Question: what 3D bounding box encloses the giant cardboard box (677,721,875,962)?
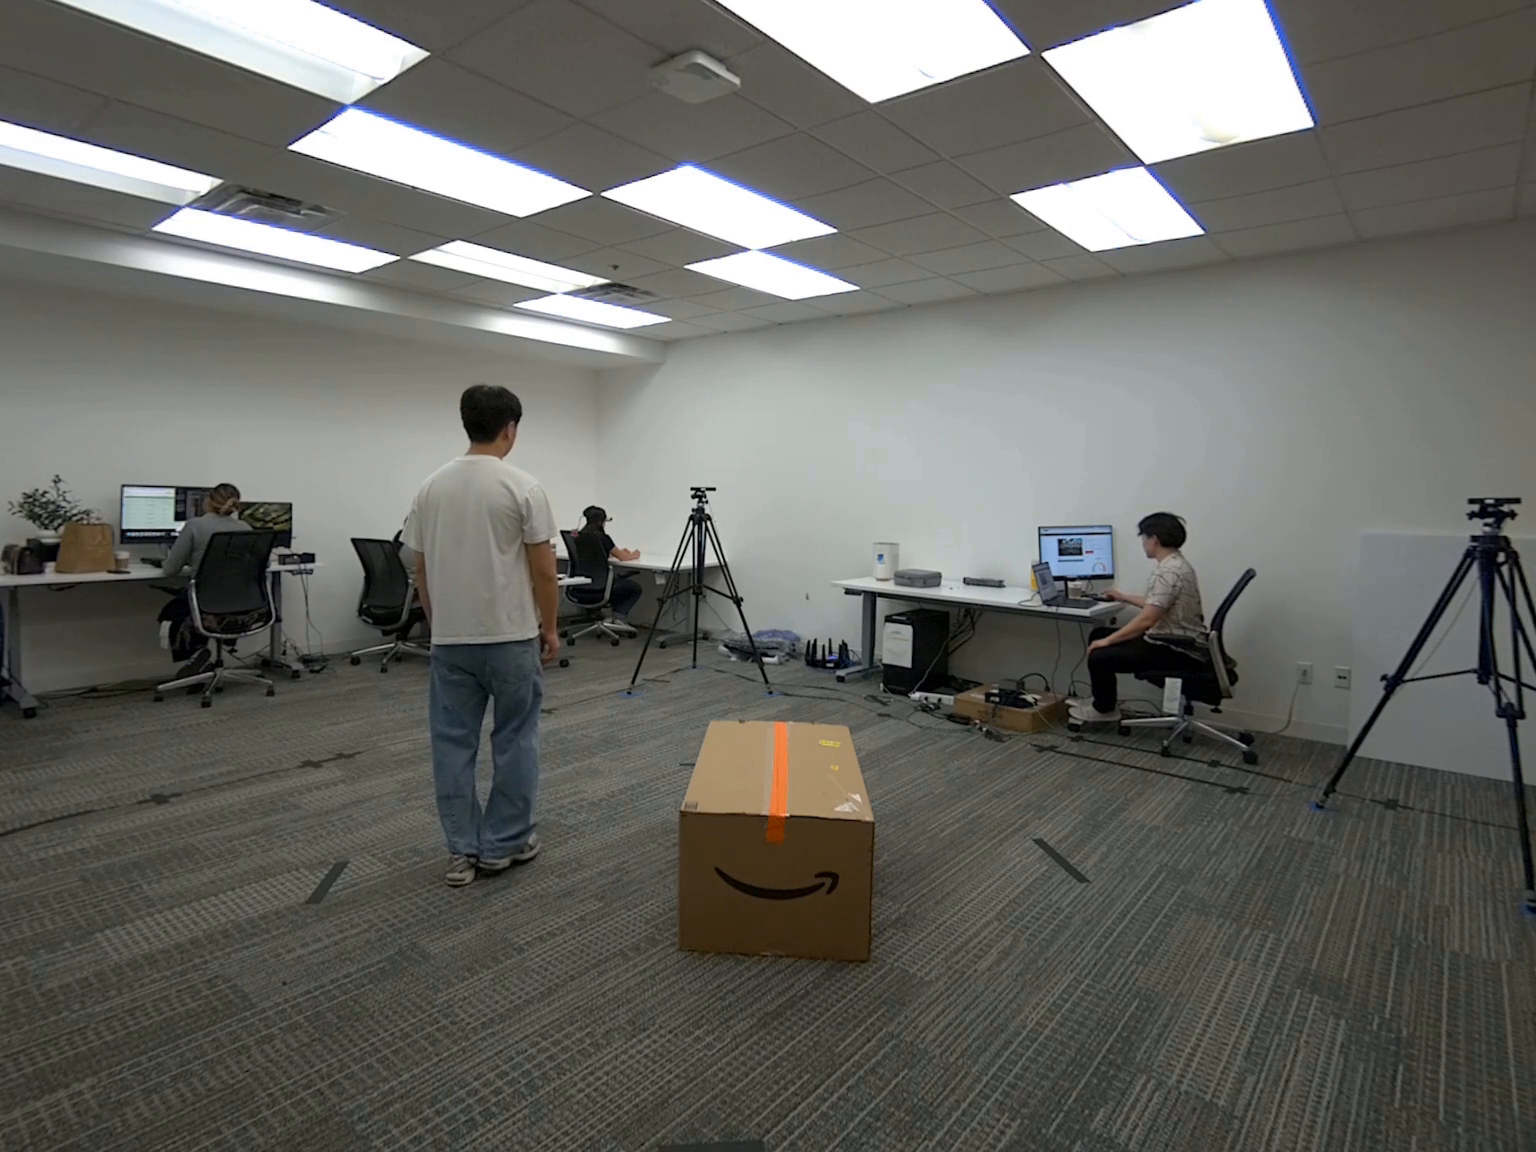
[{"bbox_3d":[0.021,0.860,3.020,0.579,0.424,1.027,2,5,1],"label":"giant cardboard box"}]
